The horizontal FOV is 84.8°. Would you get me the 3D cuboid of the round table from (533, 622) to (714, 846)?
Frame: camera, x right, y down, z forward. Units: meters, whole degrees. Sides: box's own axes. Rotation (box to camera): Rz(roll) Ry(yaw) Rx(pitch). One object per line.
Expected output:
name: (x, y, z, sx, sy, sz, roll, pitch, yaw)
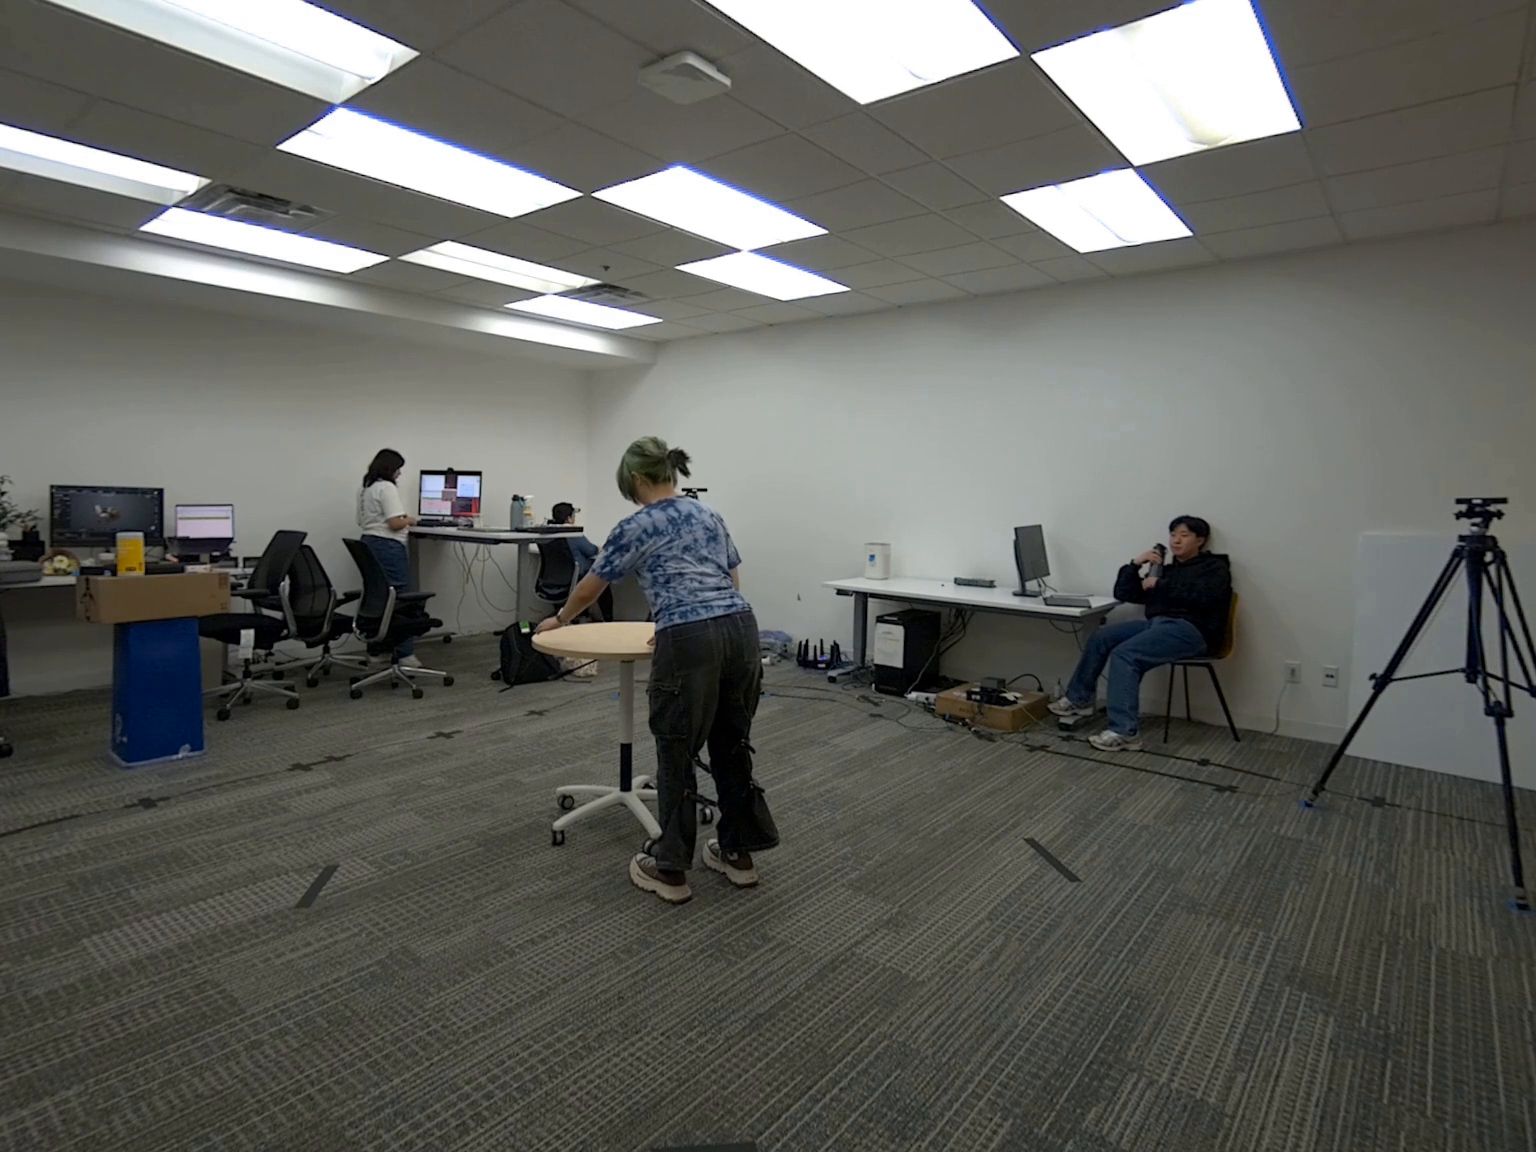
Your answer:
round table: (-0.607, 0.638, 3.507, 0.763, 0.792, 0.767, 0, 3, -2)
